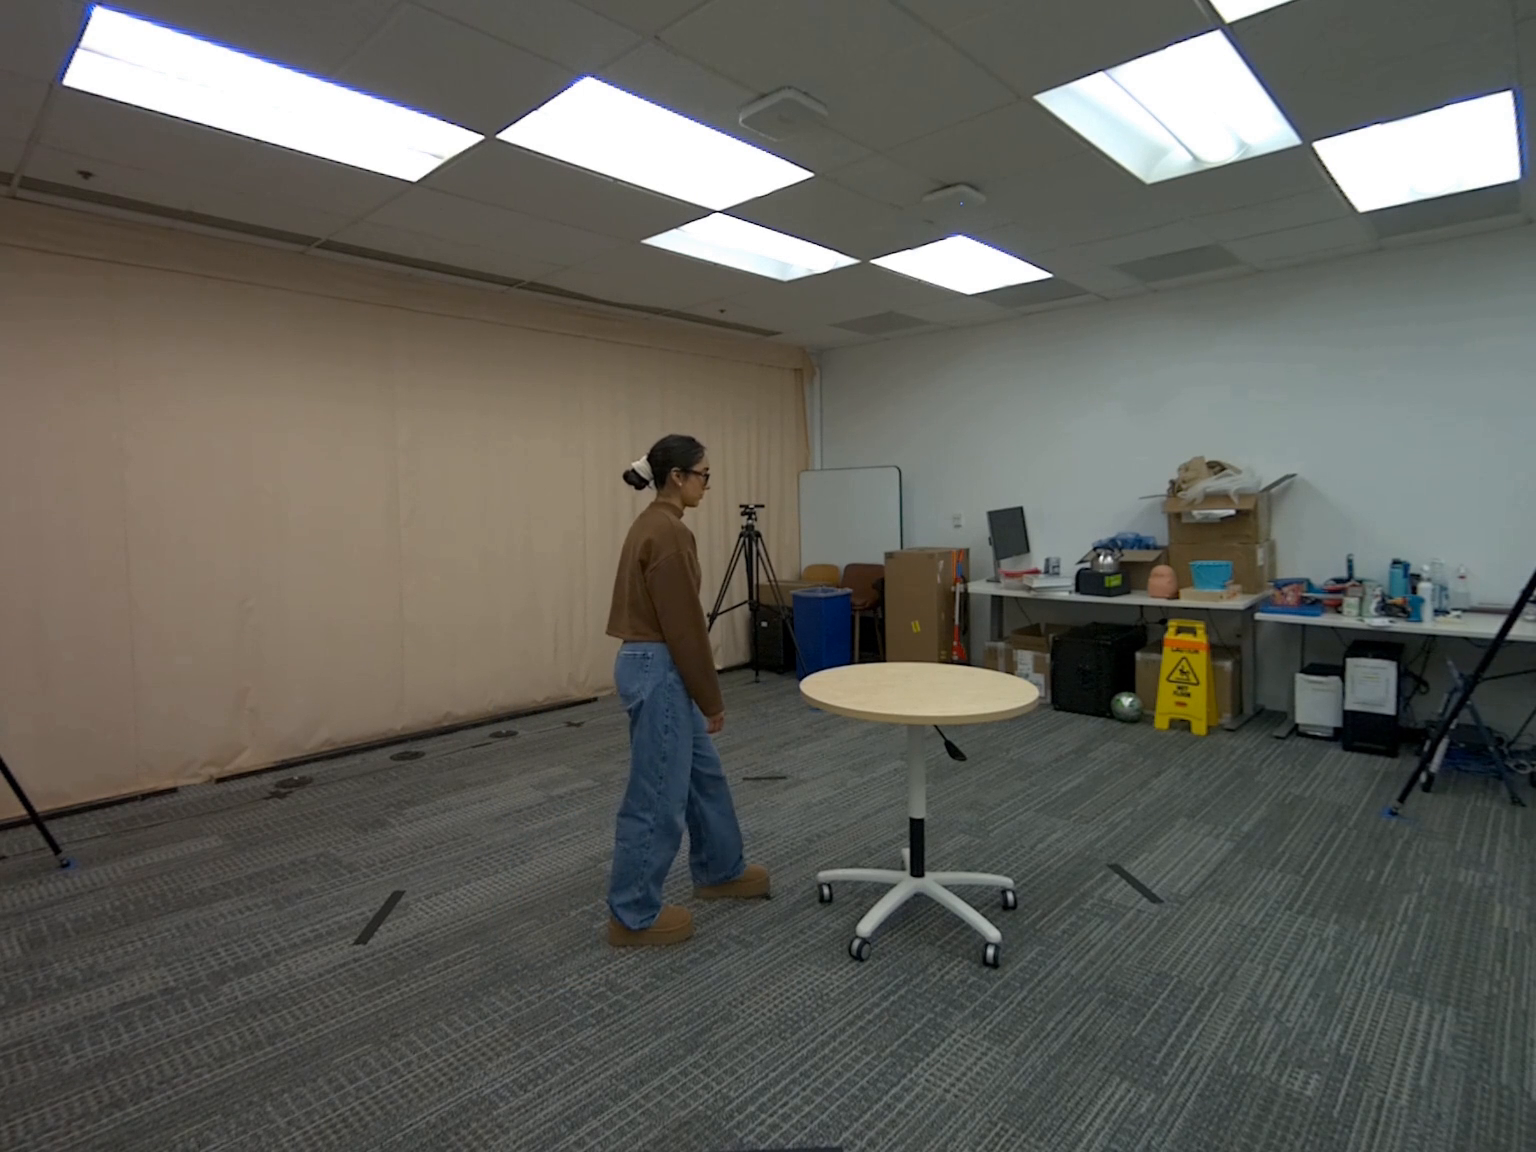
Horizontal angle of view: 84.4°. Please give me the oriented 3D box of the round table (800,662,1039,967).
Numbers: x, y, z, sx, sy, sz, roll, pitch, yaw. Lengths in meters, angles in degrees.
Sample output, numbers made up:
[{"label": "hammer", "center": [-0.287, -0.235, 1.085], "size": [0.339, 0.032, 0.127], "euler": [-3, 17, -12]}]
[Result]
[{"label": "round table", "center": [0.510, 0.755, 2.786], "size": [0.784, 0.784, 0.788], "euler": [-2, 4, -2]}]
